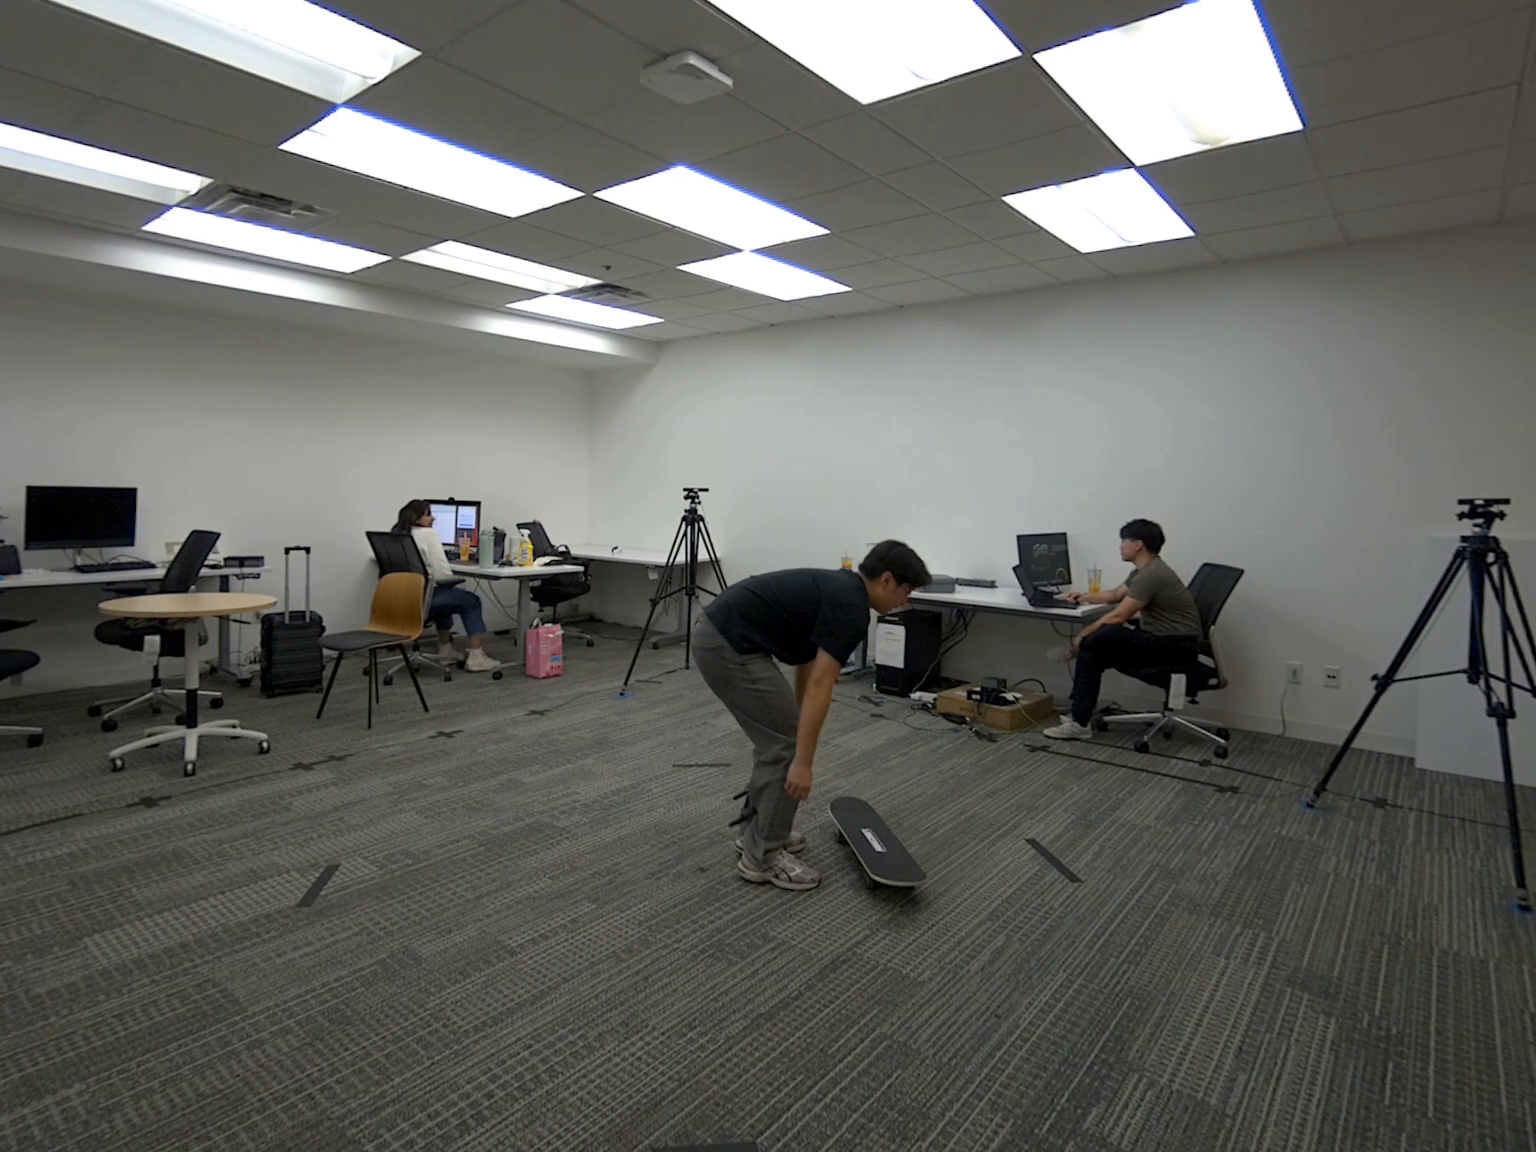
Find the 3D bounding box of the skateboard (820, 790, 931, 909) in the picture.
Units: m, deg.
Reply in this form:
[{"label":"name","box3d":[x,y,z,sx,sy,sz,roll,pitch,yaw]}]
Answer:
[{"label":"skateboard","box3d":[0.382,1.008,3.191,0.192,0.110,0.795,0,6,-9]}]
